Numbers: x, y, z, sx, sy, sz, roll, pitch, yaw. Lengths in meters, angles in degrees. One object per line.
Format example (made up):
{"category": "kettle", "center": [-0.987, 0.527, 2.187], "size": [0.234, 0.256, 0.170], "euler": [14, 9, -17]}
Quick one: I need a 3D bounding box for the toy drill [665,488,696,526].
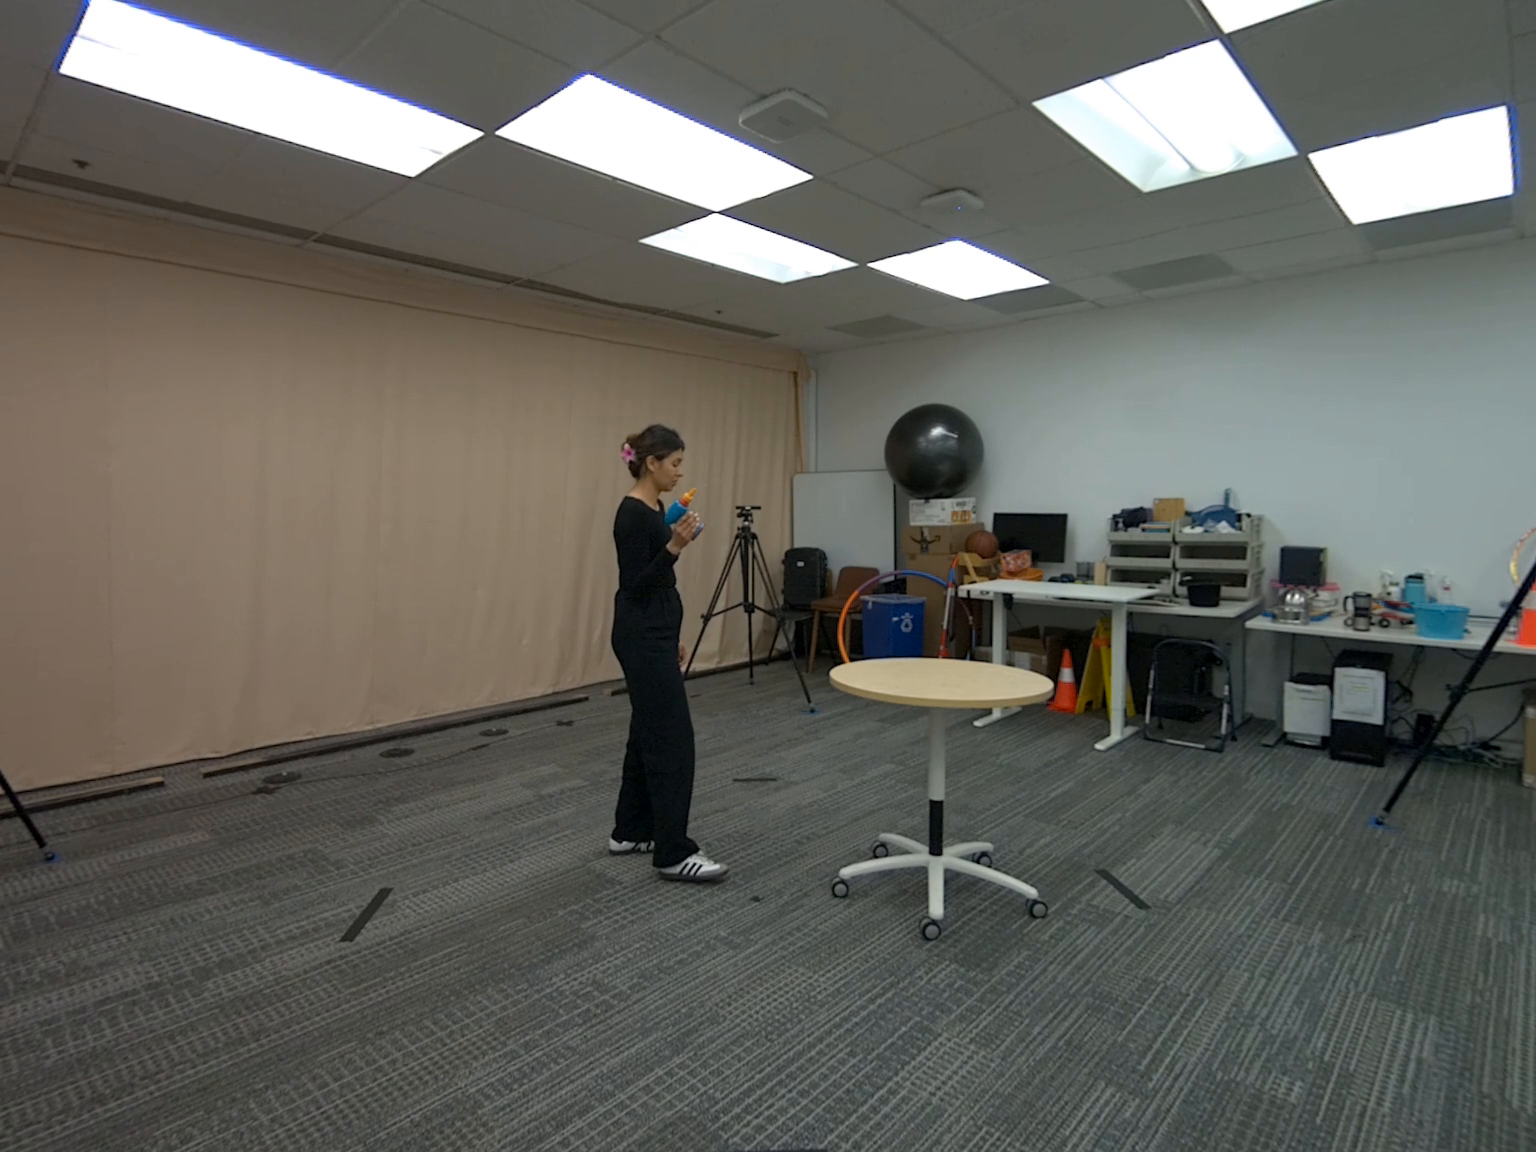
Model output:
{"category": "toy drill", "center": [-0.274, -0.228, 3.017], "size": [0.145, 0.170, 0.061], "euler": [39, 16, -7]}
